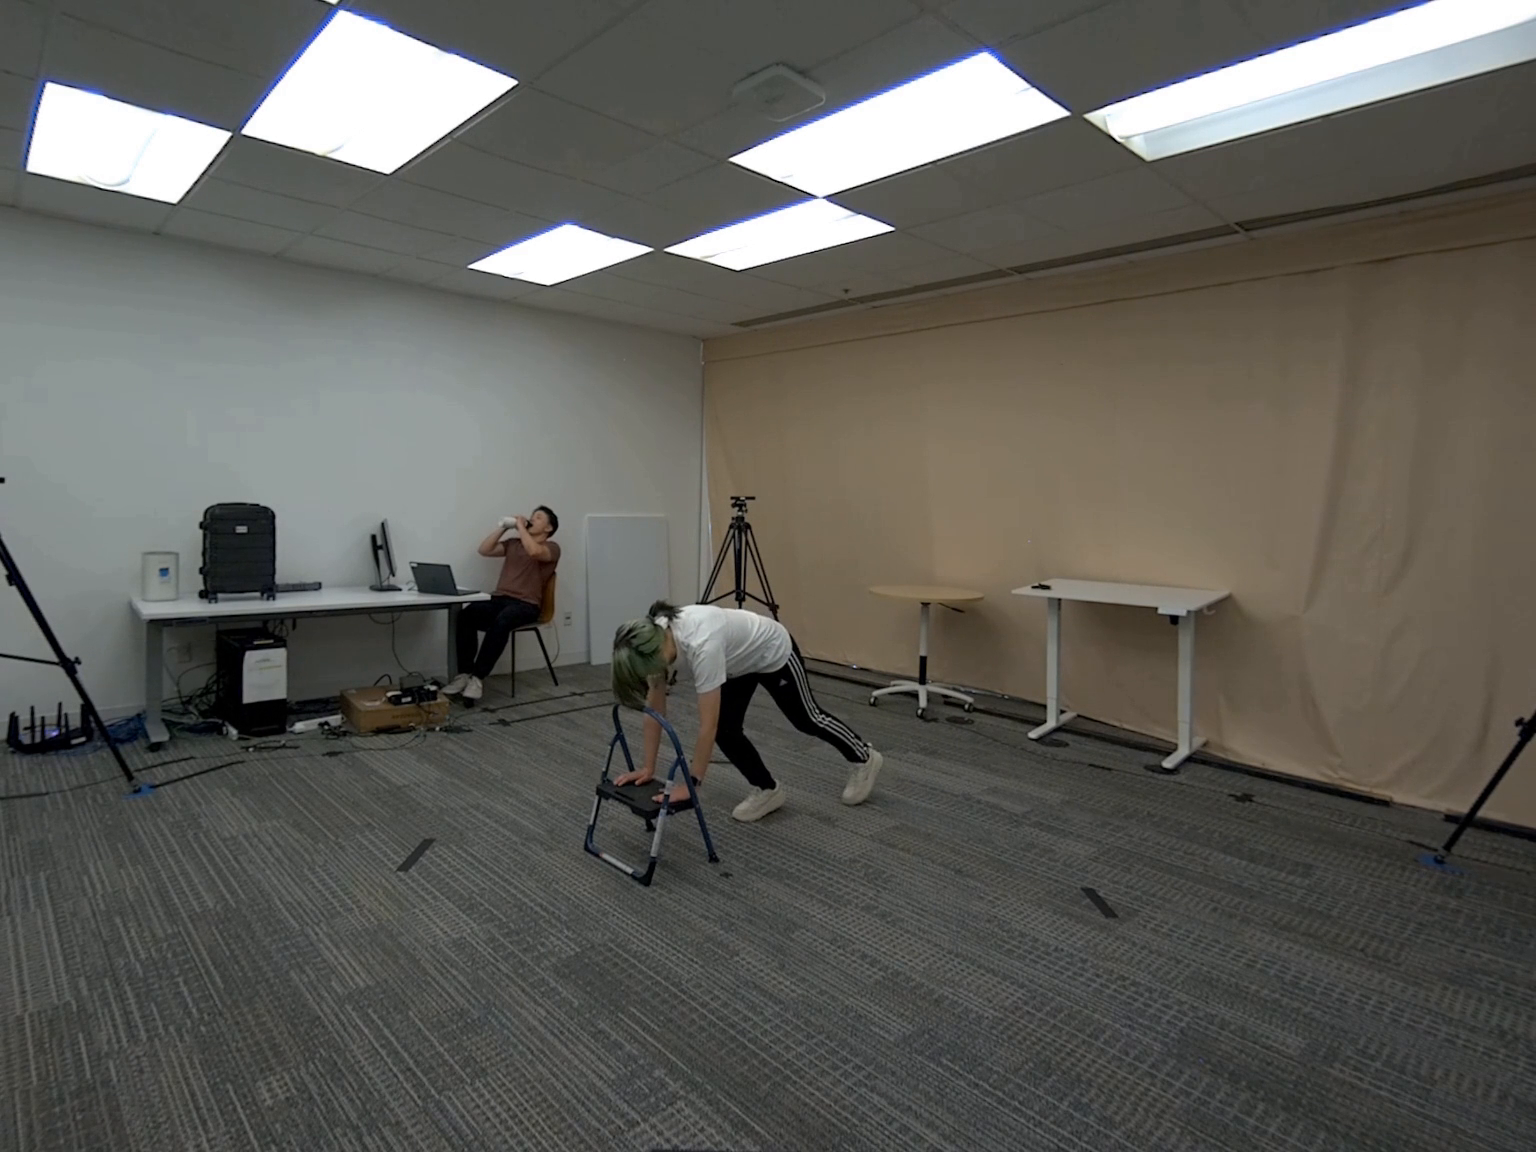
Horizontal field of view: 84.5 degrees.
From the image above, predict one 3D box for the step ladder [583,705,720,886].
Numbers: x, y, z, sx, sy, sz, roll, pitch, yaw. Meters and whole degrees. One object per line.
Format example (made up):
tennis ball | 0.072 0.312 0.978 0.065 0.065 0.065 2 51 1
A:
step ladder | -0.457 0.782 3.243 0.341 0.604 0.442 -2 5 -44
